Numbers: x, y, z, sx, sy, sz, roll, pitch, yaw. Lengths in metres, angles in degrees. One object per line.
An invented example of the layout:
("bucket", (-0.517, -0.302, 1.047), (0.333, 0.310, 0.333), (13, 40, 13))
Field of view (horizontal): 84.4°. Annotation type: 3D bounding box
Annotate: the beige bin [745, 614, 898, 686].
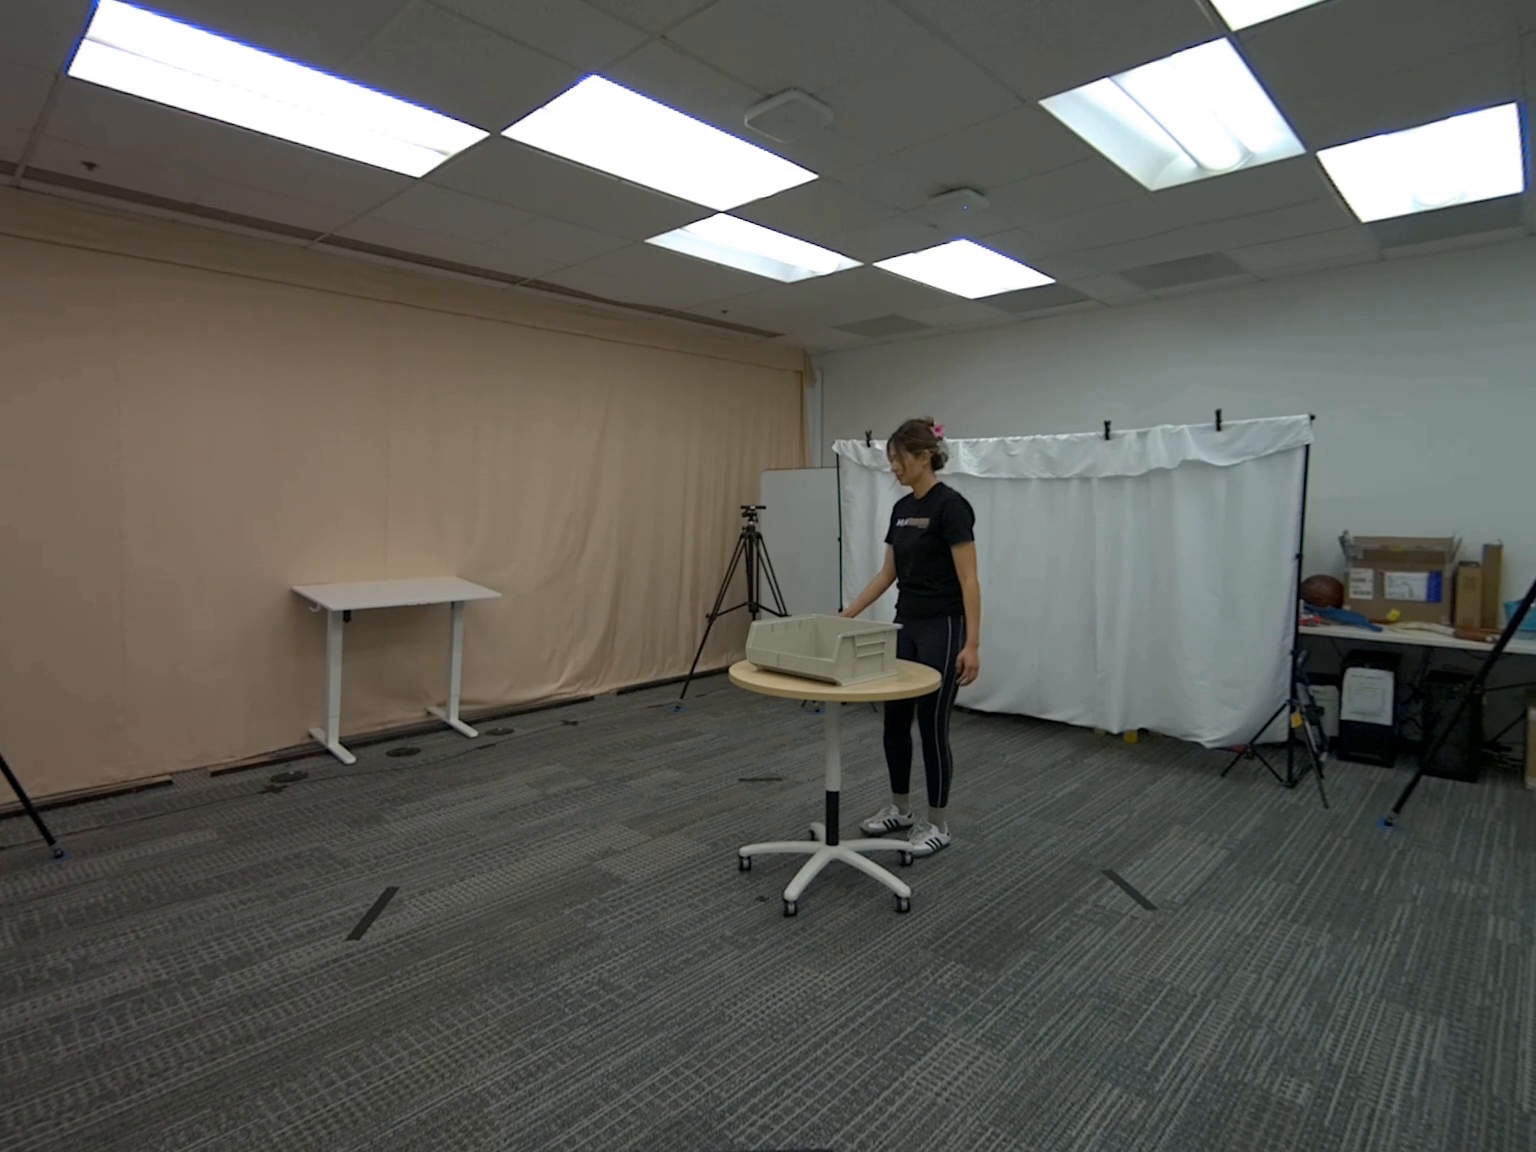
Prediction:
("beige bin", (0.208, 0.262, 3.041), (0.365, 0.188, 0.436), (-2, 5, -43))
